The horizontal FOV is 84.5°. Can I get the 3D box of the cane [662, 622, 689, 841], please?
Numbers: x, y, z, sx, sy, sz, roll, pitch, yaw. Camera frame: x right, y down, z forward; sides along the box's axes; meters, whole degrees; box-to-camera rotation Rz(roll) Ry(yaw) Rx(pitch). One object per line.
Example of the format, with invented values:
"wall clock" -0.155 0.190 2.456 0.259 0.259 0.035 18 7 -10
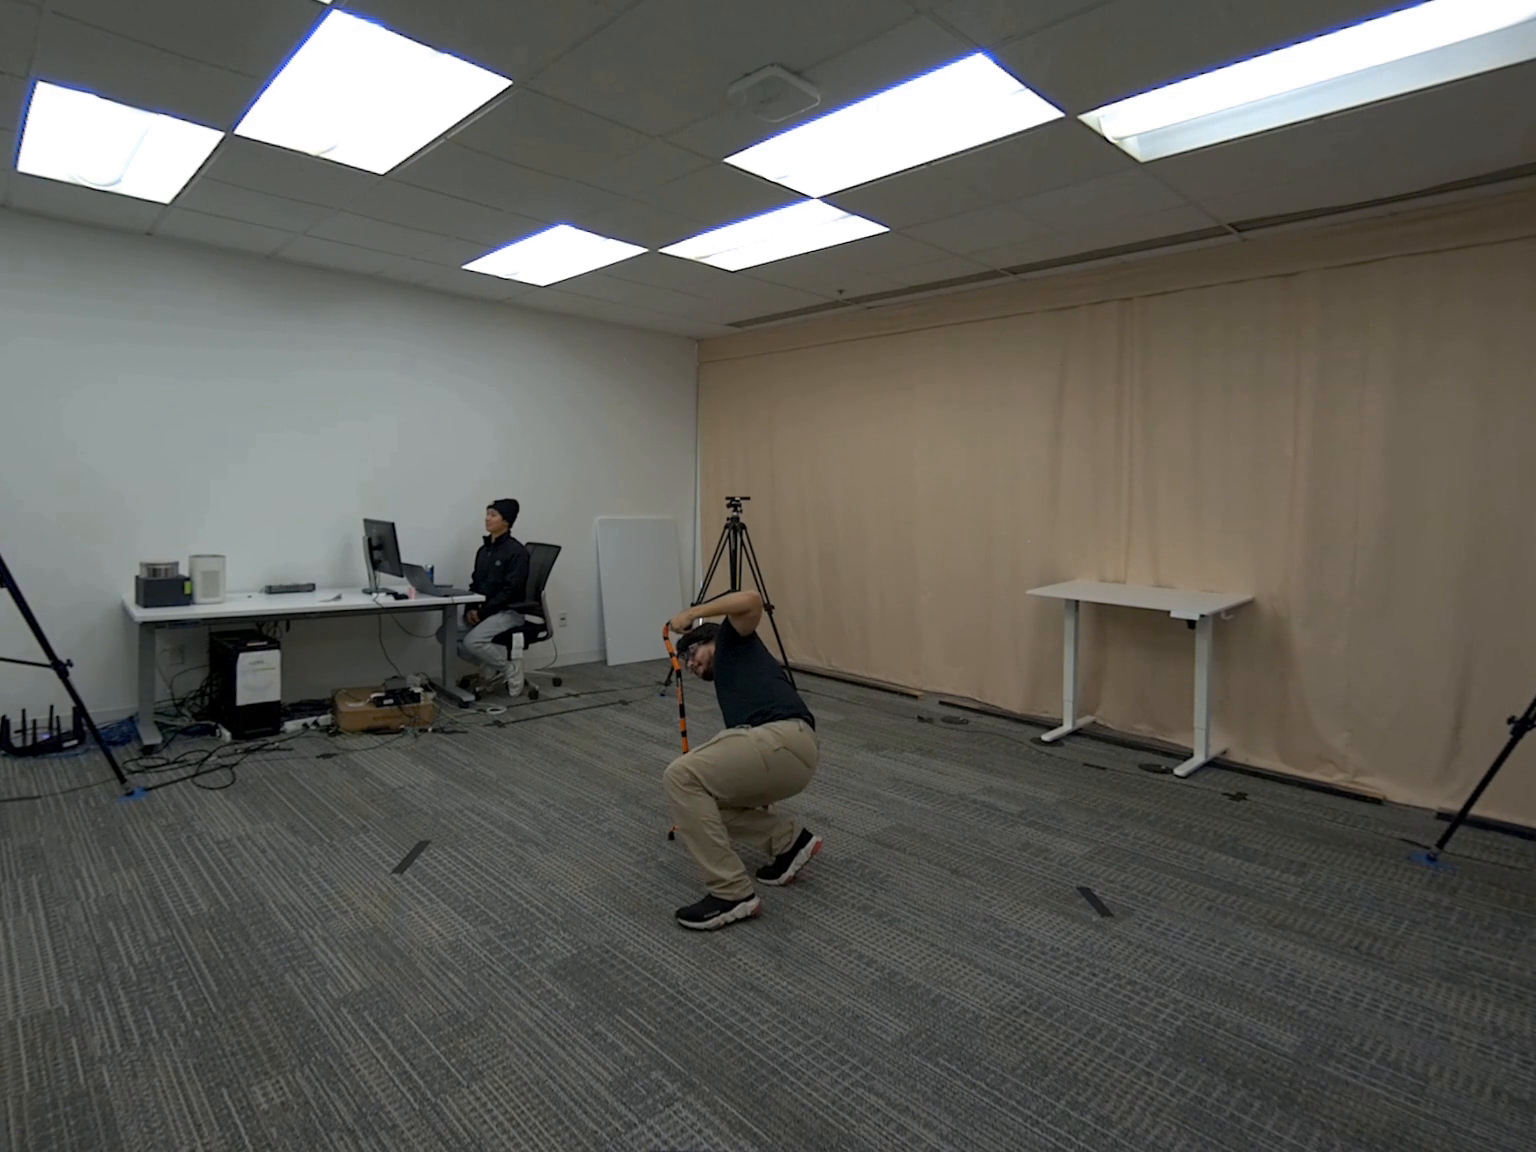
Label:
"cane" -0.331 0.625 3.360 0.149 0.903 0.211 -10 8 -43
